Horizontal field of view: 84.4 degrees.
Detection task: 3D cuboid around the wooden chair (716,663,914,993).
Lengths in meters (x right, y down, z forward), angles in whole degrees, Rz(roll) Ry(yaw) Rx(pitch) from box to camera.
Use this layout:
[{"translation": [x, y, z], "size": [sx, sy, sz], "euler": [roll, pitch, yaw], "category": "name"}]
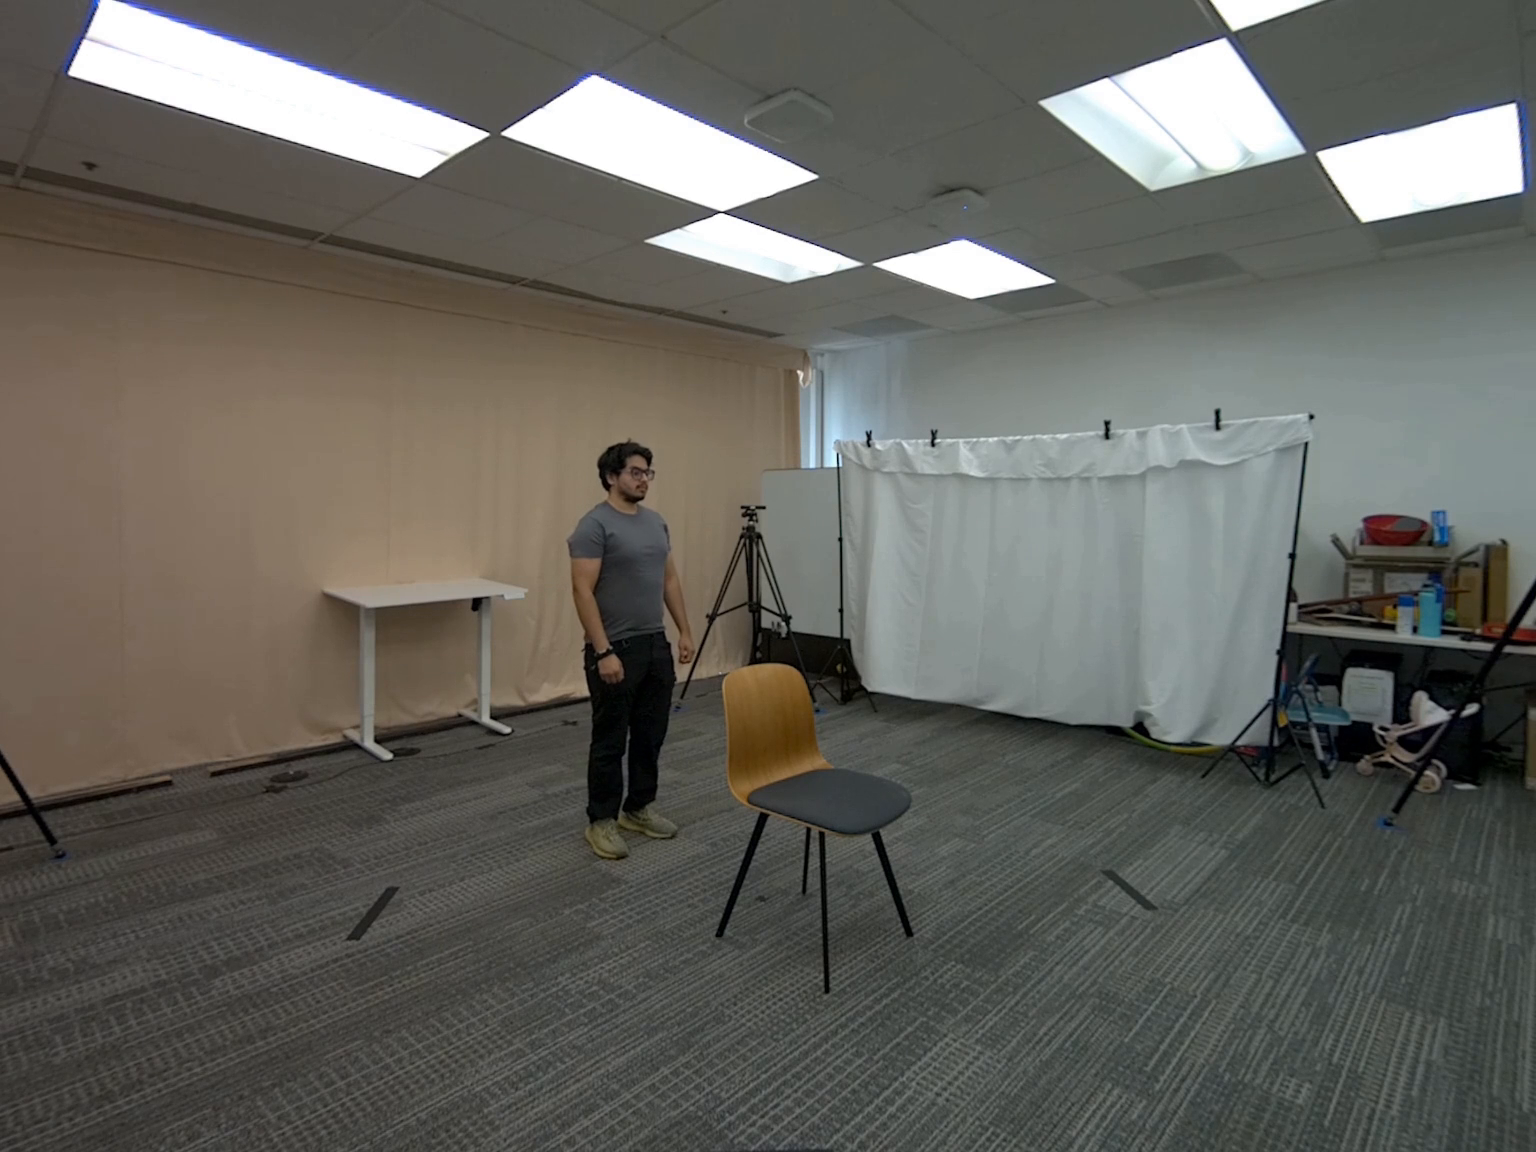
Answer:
[{"translation": [0.159, 0.743, 2.681], "size": [0.539, 0.877, 0.463], "euler": [-3, 0, 43], "category": "wooden chair"}]
